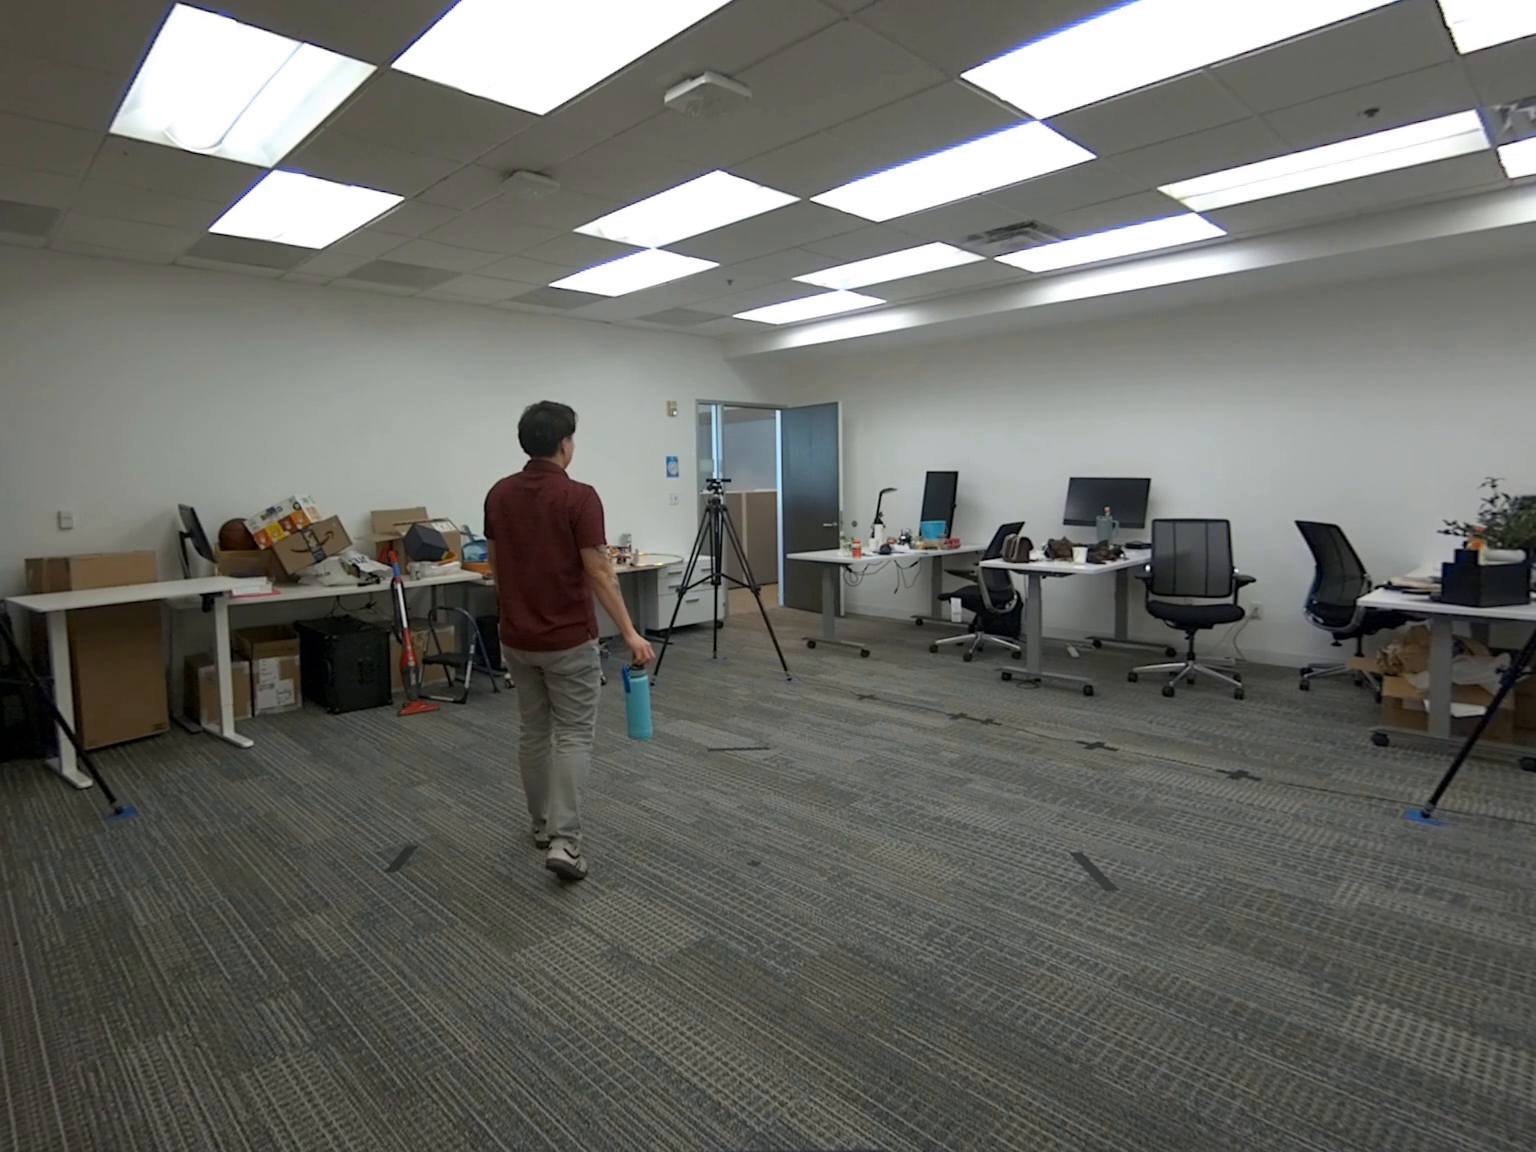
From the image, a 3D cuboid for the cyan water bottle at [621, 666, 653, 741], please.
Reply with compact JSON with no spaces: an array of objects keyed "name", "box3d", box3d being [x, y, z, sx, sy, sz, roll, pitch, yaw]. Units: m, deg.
[{"name":"cyan water bottle","box3d":[-0.485,0.448,3.112,0.092,0.282,0.093,-2,6,-1]}]
